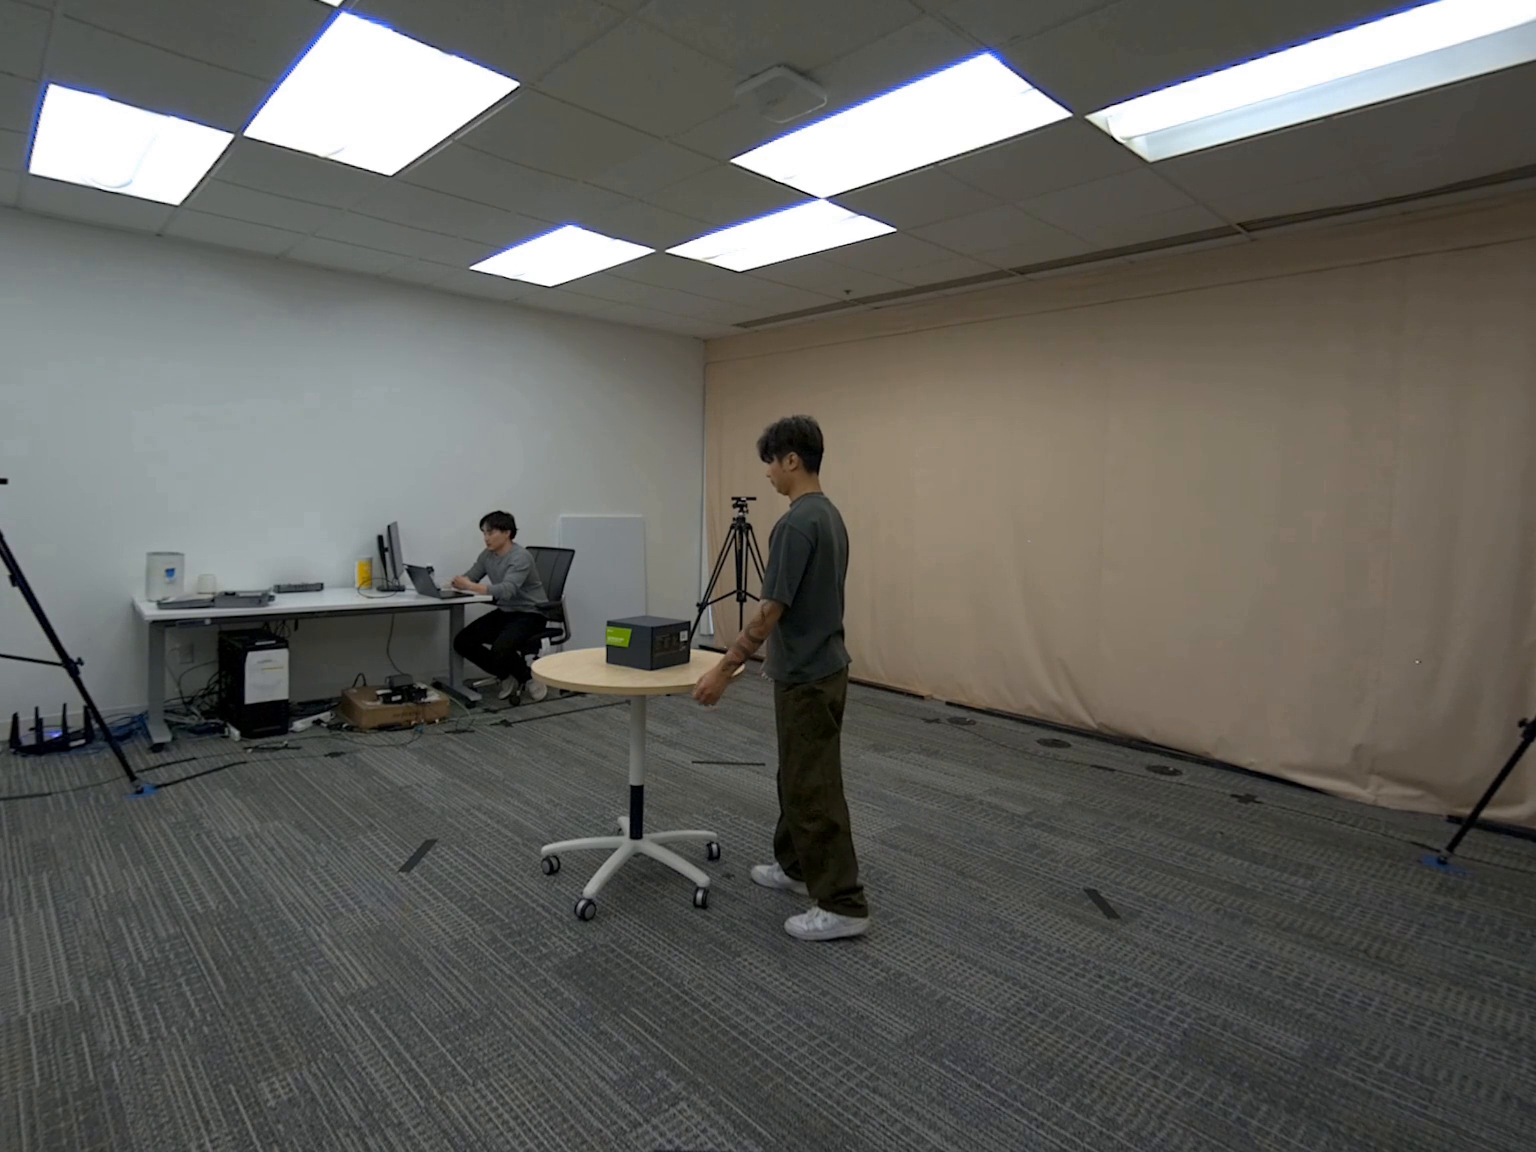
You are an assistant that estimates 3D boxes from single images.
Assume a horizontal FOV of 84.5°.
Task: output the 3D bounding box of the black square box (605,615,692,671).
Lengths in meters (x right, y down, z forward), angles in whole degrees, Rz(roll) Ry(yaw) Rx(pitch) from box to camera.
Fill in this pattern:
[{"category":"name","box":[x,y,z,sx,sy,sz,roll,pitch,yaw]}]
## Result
[{"category":"black square box","box":[-0.444,0.238,3.078,0.233,0.155,0.212,4,5,36]}]
